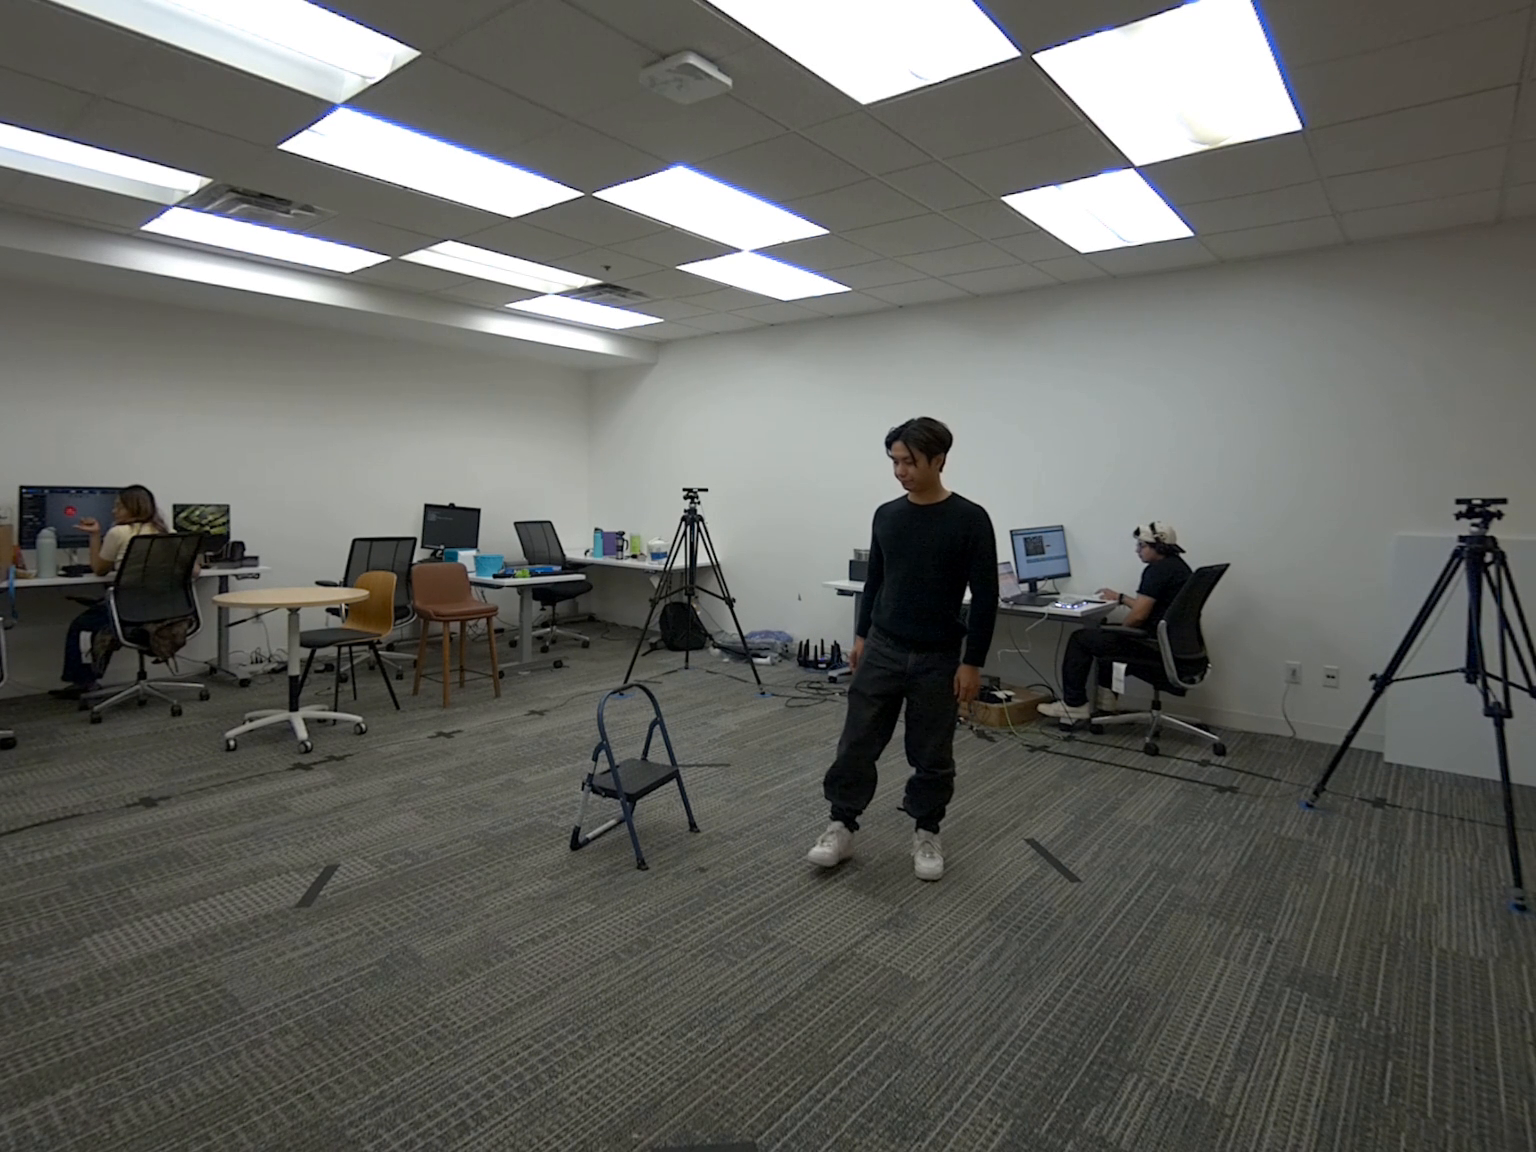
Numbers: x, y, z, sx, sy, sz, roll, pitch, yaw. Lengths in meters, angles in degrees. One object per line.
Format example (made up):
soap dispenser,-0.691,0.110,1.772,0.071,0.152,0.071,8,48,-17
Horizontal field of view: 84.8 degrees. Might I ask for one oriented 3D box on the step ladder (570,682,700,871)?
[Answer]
step ladder,-0.527,0.740,3.346,0.359,0.604,0.420,3,4,25
